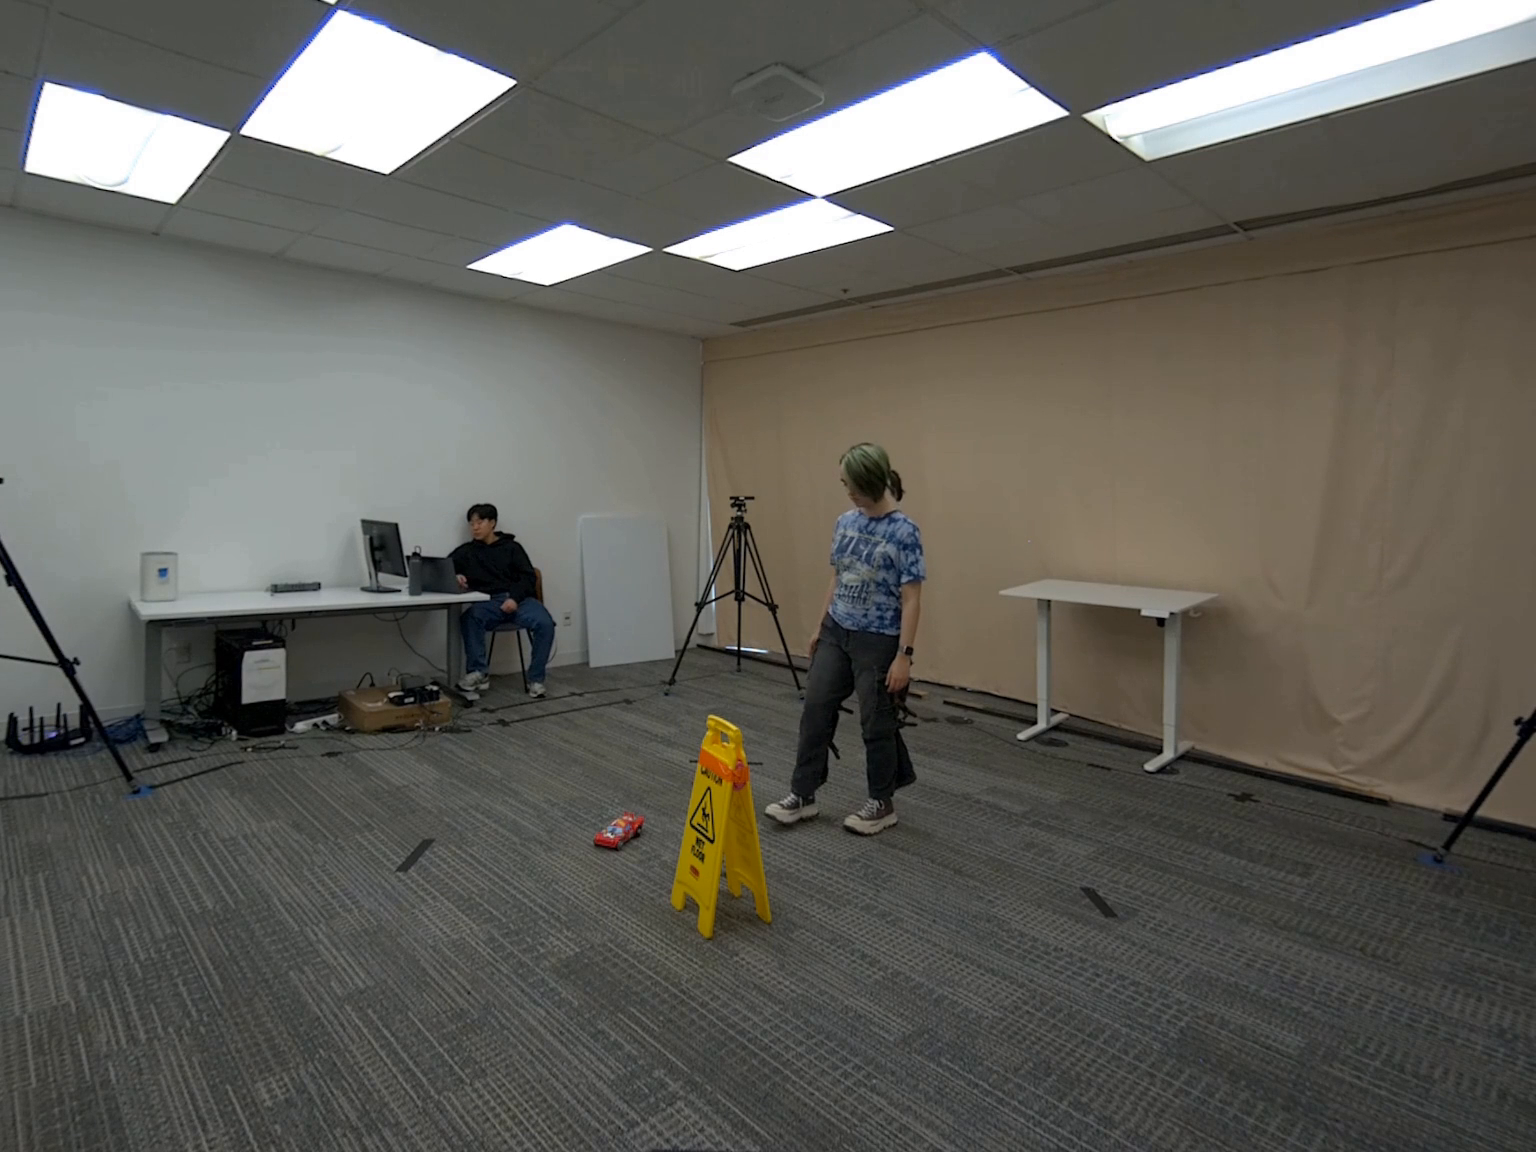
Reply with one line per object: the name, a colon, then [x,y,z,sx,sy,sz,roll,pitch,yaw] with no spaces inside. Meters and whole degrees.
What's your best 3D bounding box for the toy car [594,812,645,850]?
toy car: [-0.608,1.037,3.406,0.132,0.082,0.253,2,16,22]
